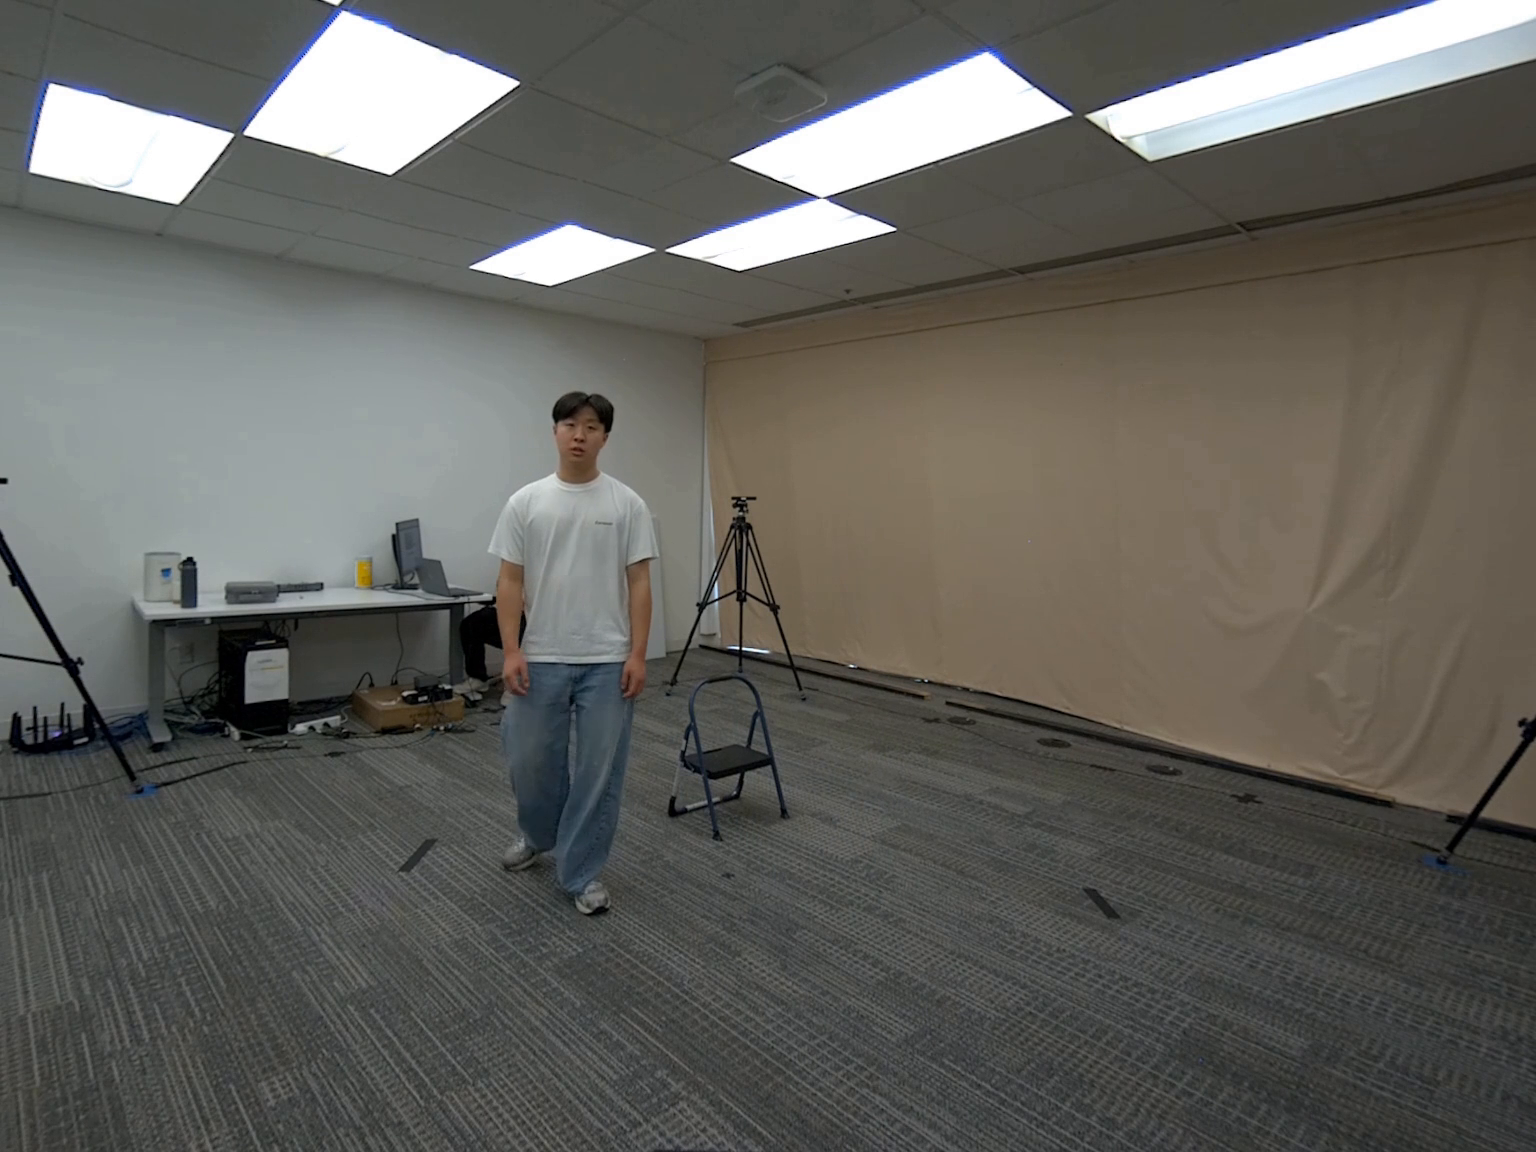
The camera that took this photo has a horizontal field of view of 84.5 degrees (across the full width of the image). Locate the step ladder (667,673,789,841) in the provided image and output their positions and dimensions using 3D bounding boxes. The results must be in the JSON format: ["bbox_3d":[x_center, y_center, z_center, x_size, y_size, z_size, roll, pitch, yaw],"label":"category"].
[{"bbox_3d":[-0.171,0.750,3.669,0.420,0.604,0.358,-1,5,-44],"label":"step ladder"}]
